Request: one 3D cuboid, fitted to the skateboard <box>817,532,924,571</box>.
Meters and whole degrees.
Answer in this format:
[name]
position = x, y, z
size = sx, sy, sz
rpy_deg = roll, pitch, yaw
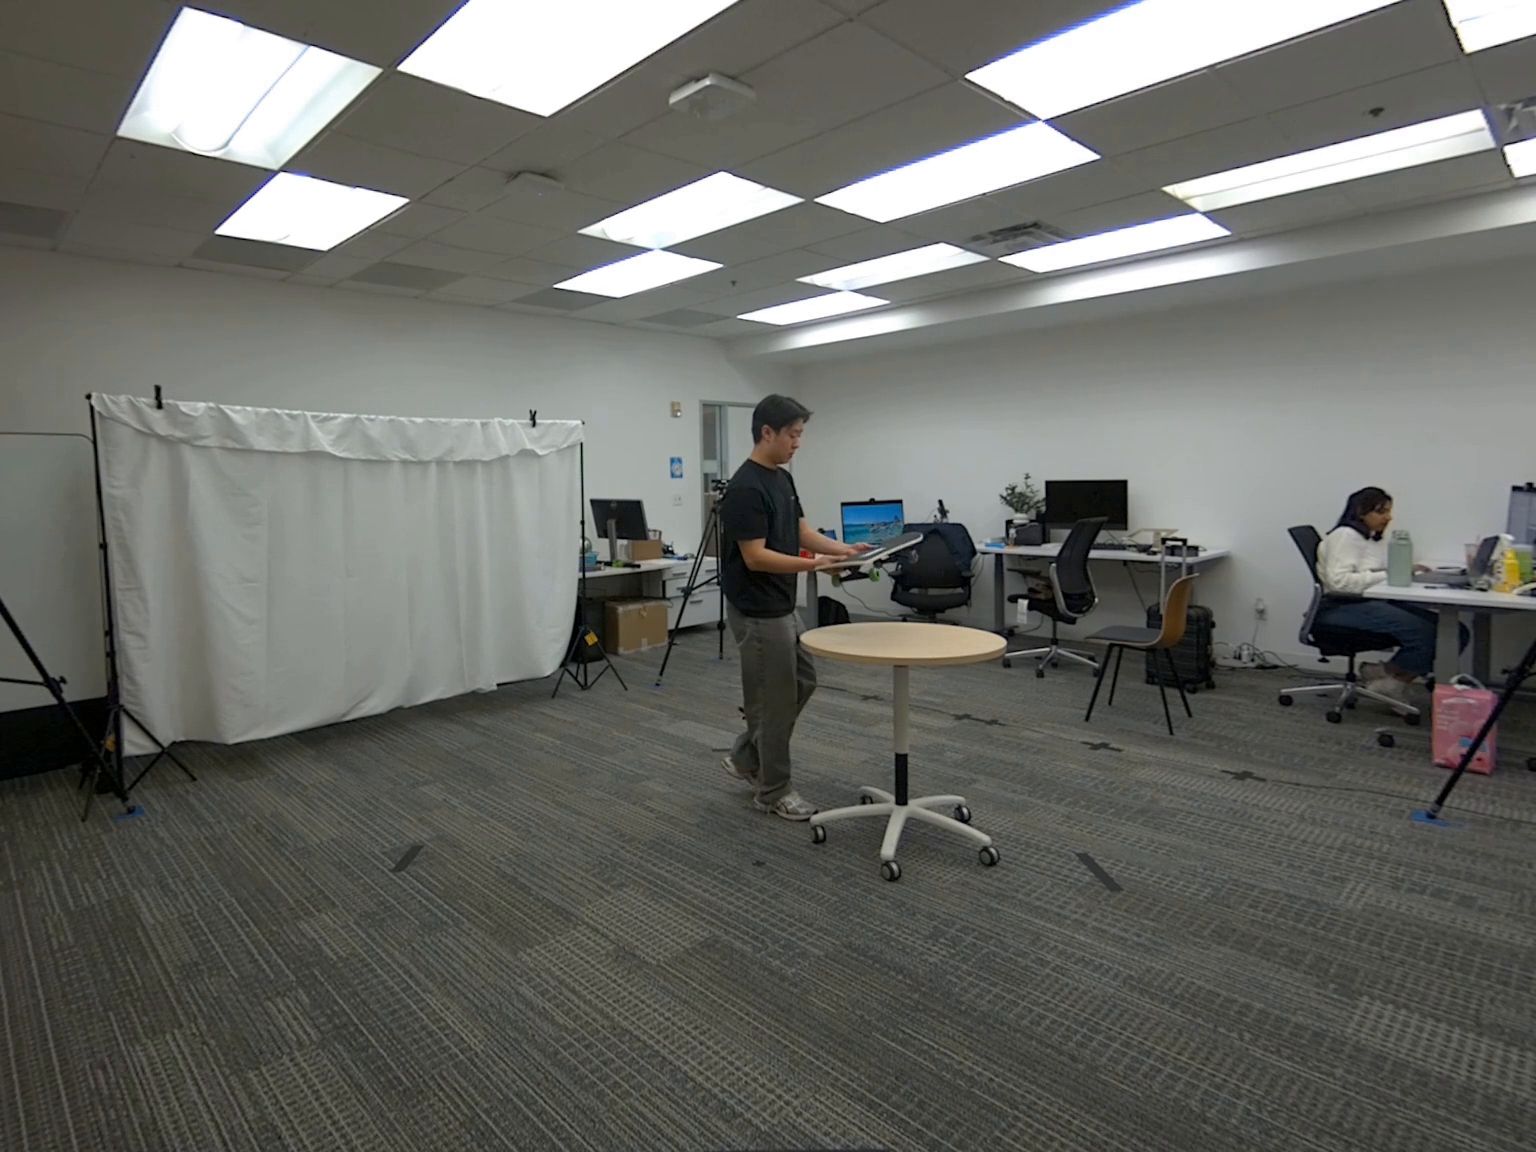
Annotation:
[skateboard]
position = 0.409, -0.051, 3.325
size = 0.198, 0.110, 0.771
rpy_deg = -7, 7, 34
